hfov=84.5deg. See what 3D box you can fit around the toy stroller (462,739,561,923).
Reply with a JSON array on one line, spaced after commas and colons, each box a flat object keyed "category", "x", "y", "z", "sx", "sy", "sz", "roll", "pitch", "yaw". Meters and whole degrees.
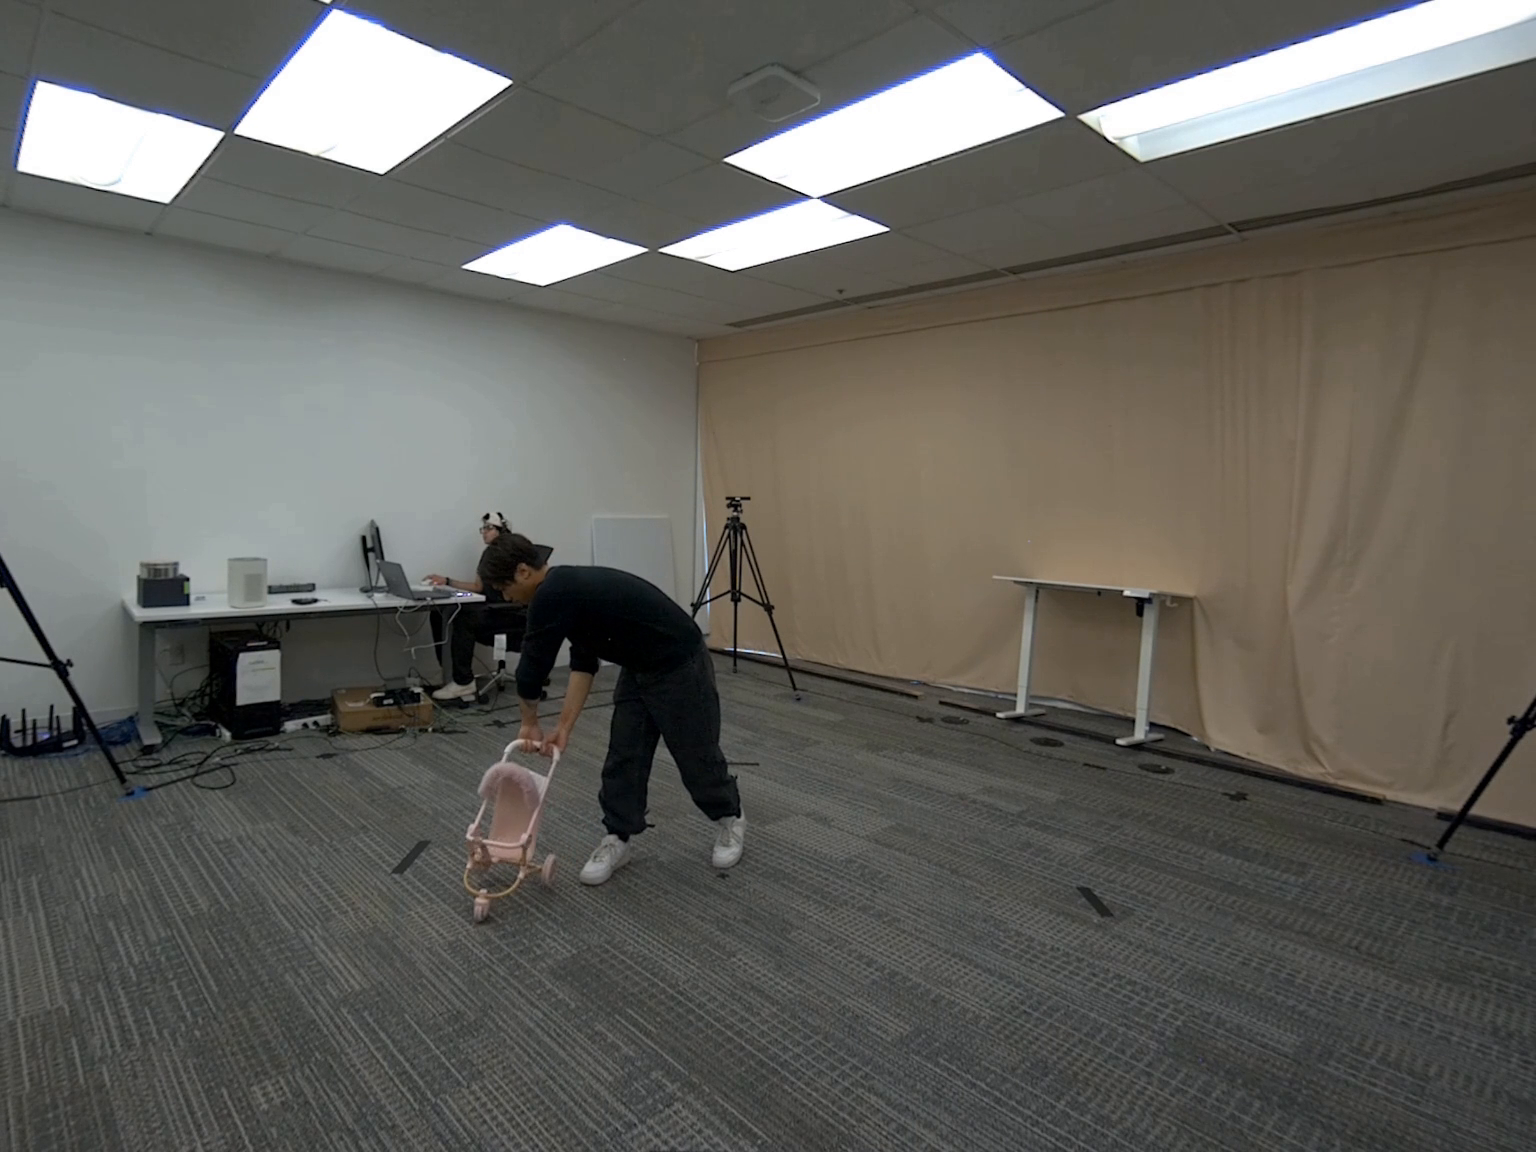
[{"category": "toy stroller", "x": -0.893, "y": 0.864, "z": 2.867, "sx": 0.285, "sy": 0.536, "sz": 0.336, "roll": 6, "pitch": -3, "yaw": 13}]
